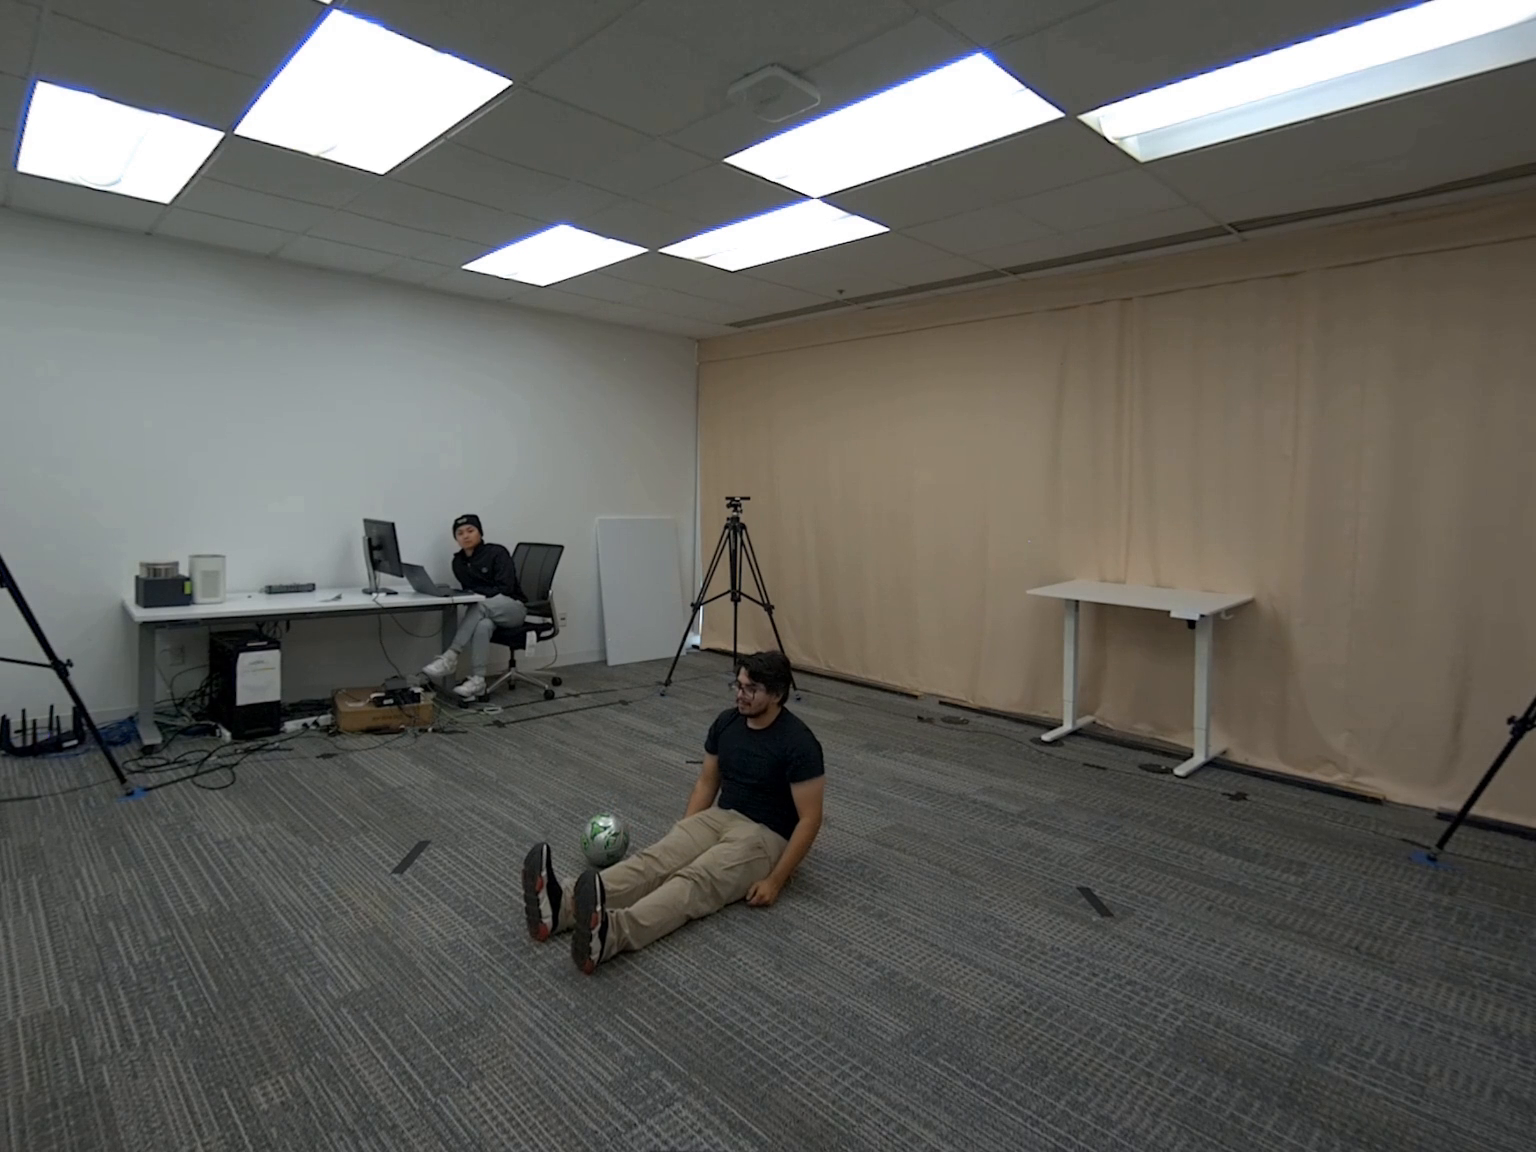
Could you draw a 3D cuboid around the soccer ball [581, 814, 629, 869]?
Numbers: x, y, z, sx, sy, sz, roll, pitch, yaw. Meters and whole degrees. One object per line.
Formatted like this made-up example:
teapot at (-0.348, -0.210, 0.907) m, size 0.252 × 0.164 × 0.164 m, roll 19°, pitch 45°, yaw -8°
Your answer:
soccer ball at (-0.615, 0.986, 3.184) m, size 0.187 × 0.187 × 0.188 m, roll 1°, pitch 5°, yaw -1°
